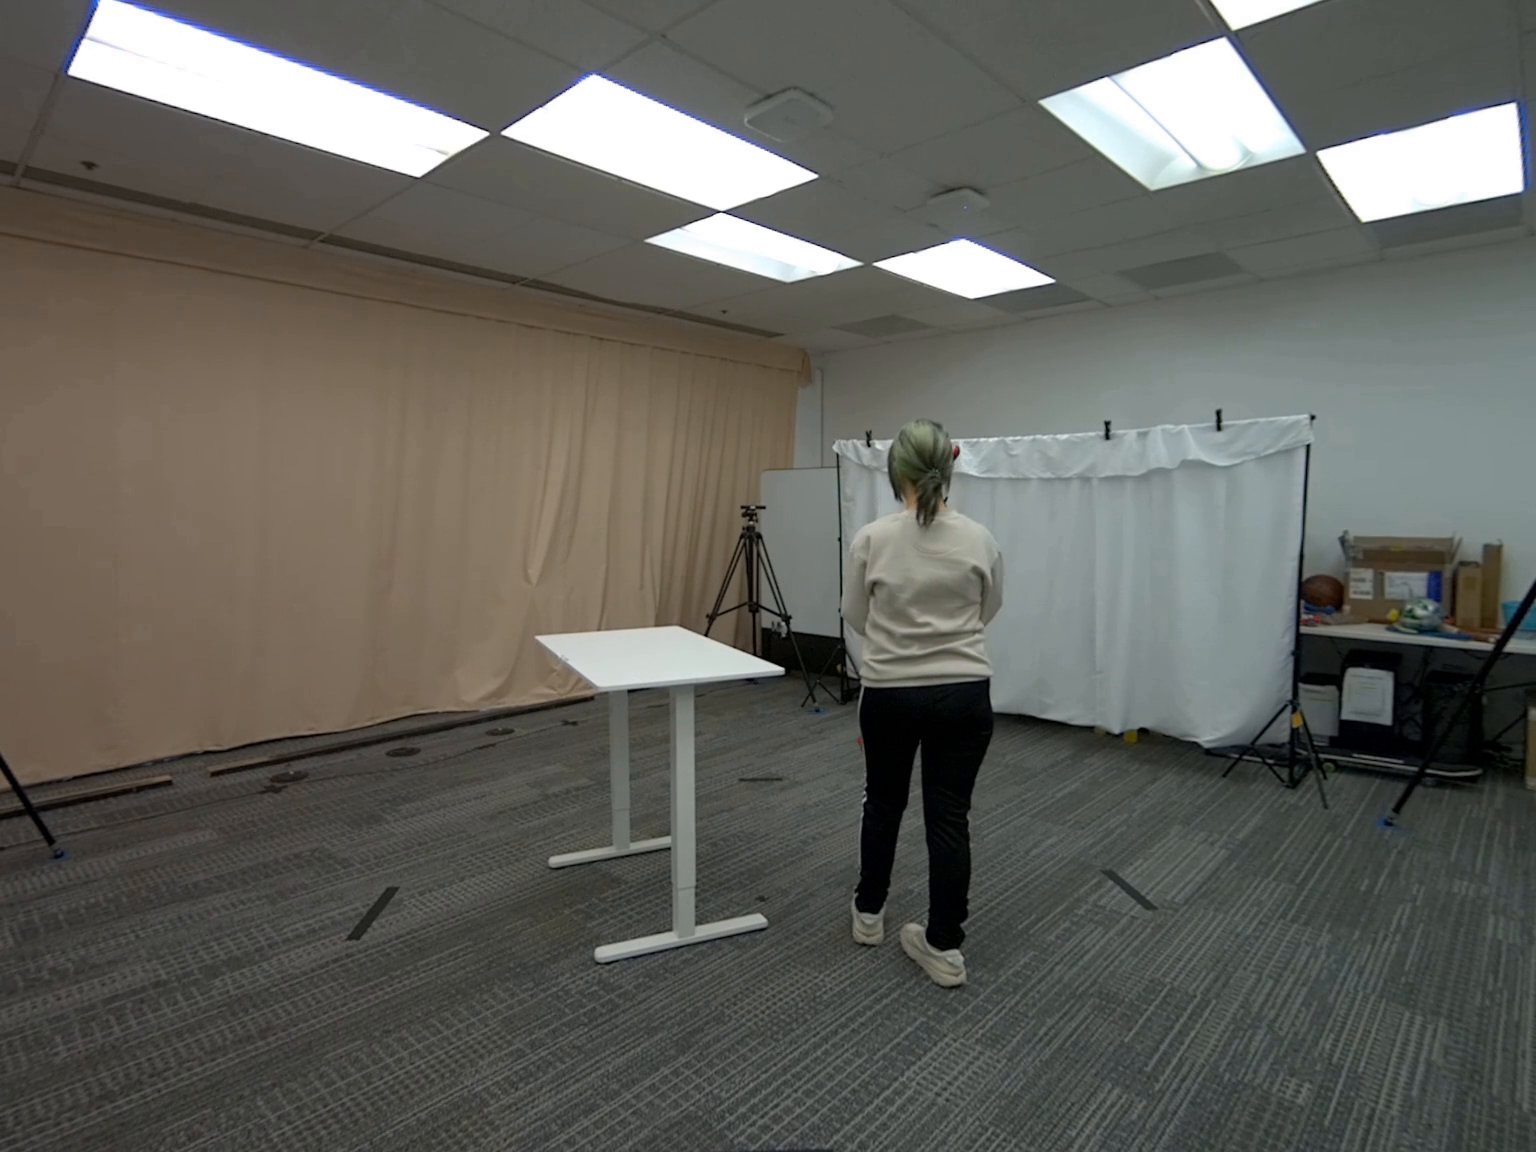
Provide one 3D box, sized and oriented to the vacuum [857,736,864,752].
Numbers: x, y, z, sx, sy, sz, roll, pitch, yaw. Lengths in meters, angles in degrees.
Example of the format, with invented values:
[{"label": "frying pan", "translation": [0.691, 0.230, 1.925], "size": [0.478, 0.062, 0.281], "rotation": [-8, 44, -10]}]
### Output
[{"label": "vacuum", "translation": [0.506, 0.096, 2.789], "size": [0.142, 1.045, 0.256], "rotation": [10, 10, -11]}]
